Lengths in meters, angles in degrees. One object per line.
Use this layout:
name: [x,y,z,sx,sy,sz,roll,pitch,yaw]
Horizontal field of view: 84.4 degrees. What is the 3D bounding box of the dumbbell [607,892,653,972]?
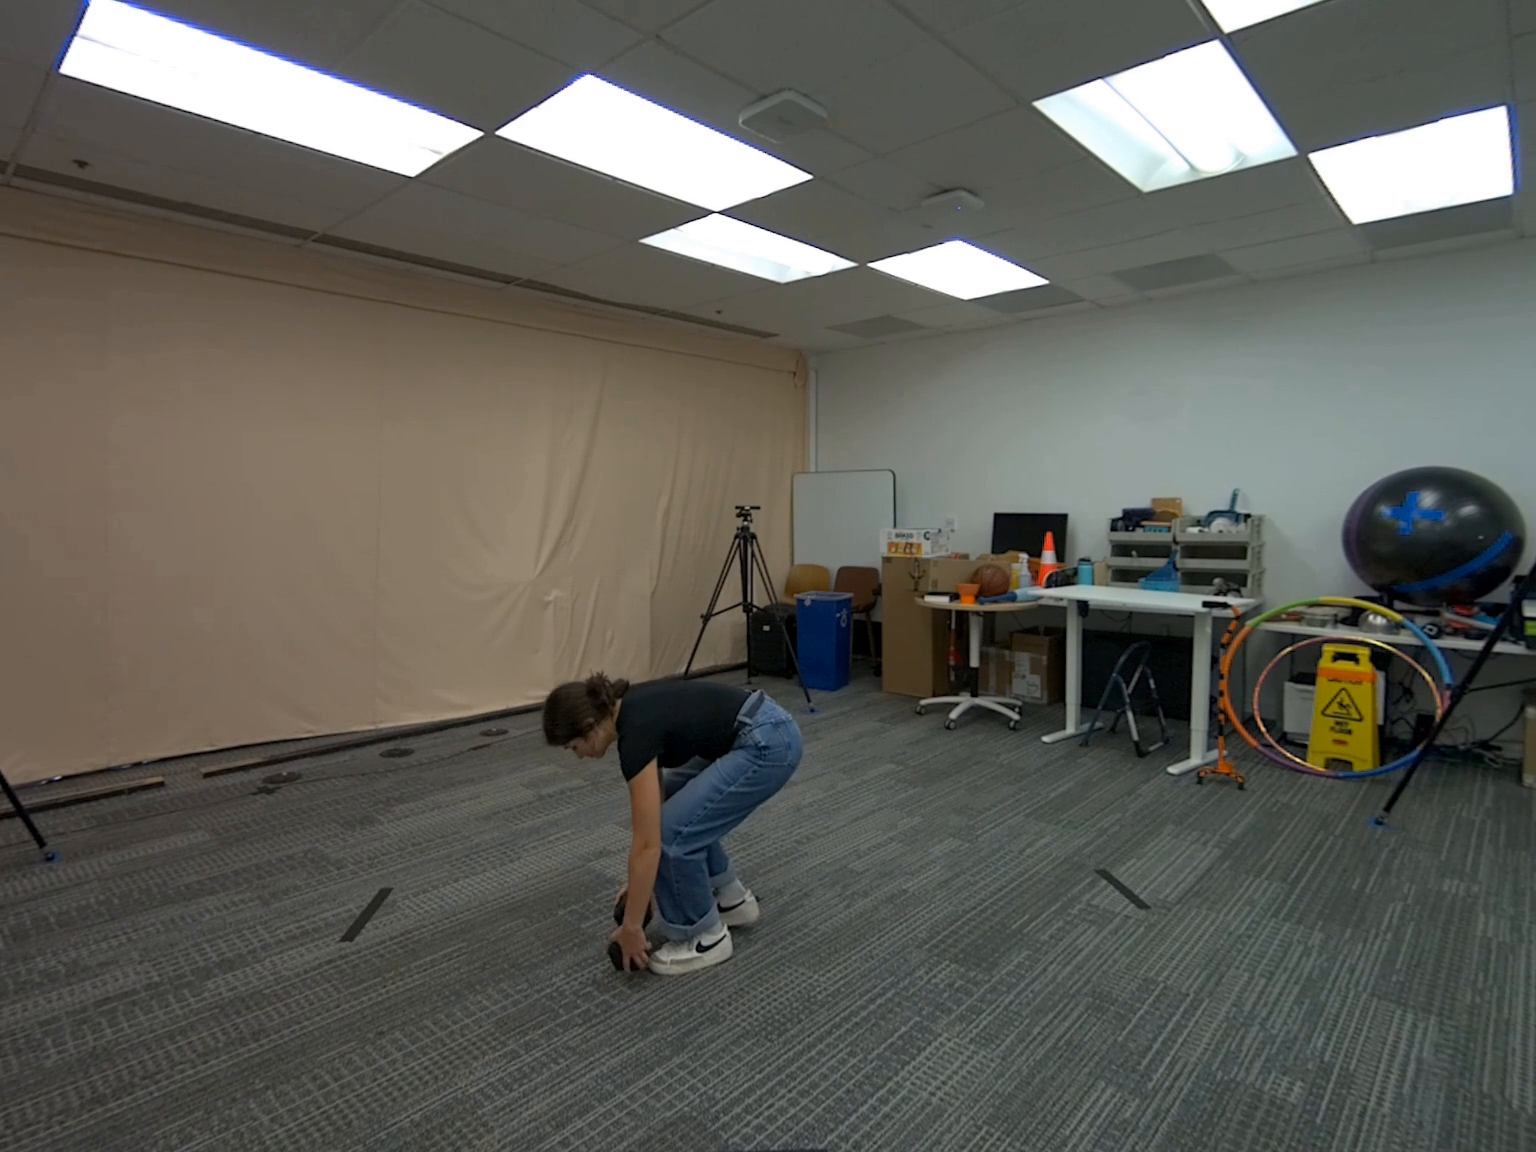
dumbbell: [-0.407,1.073,2.571,0.108,0.122,0.295,-26,6,-3]
